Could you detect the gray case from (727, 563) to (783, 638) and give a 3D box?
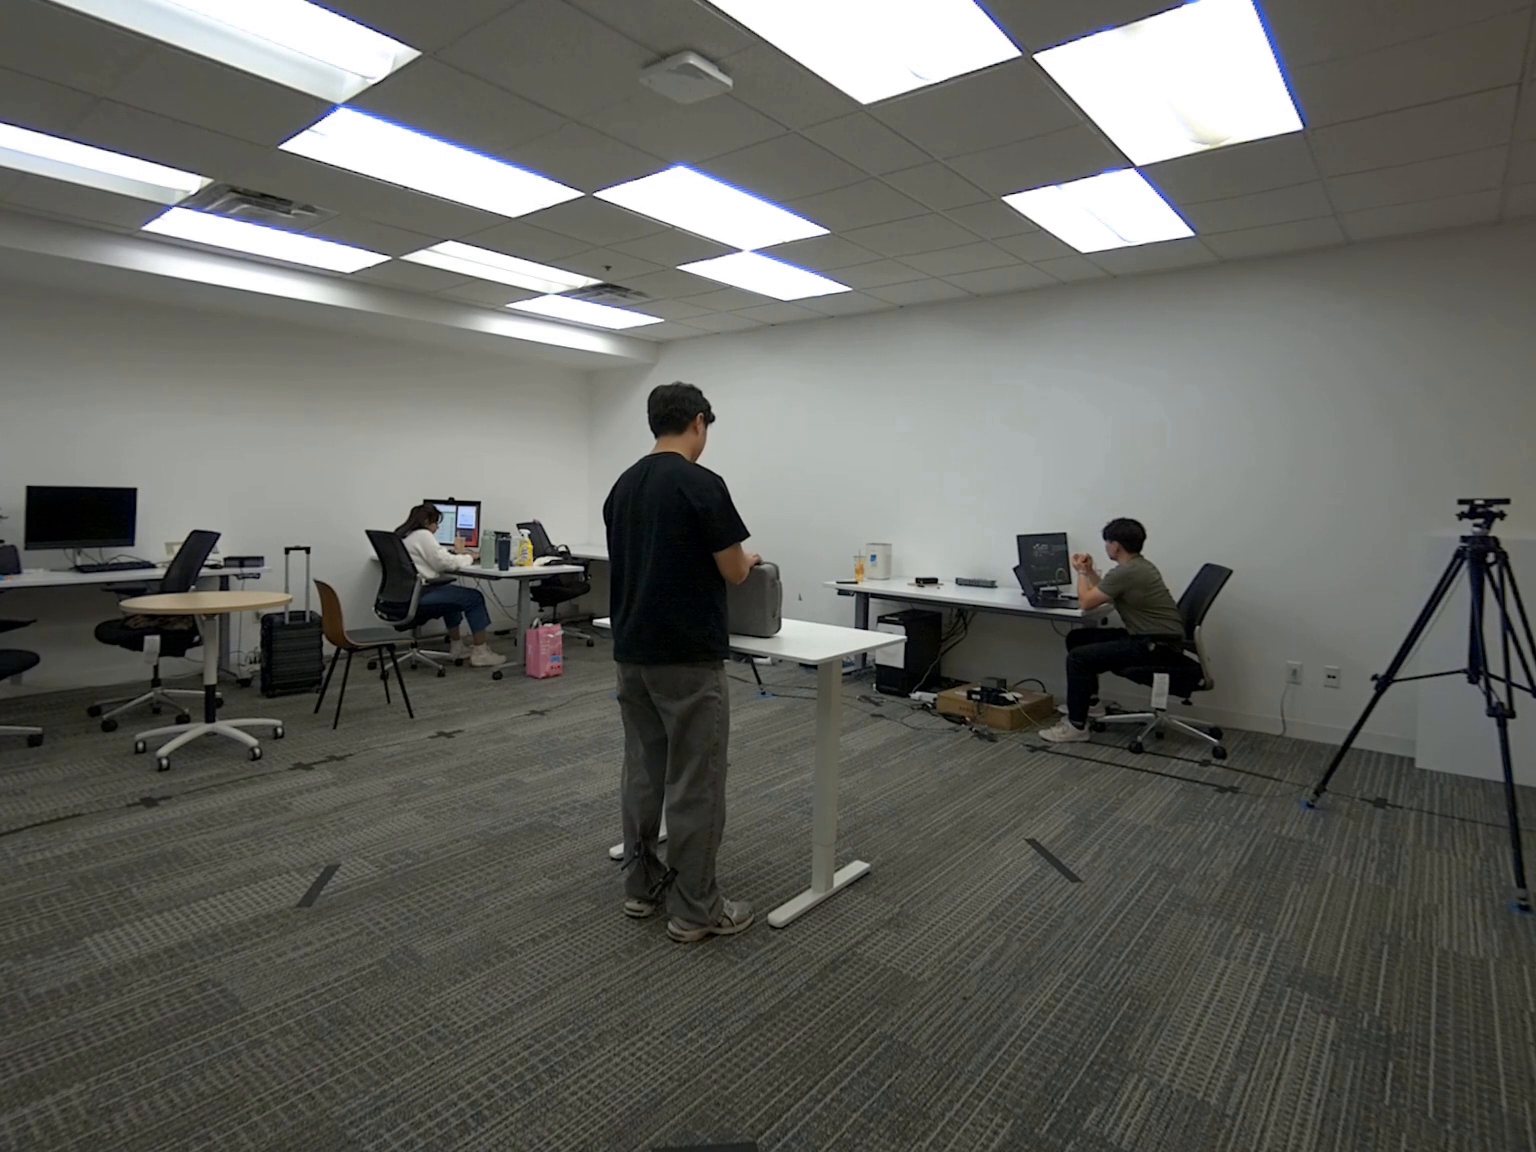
[{"bbox_3d":[-0.090,0.078,2.980,0.268,0.255,0.102,2,6,30],"label":"gray case"}]
